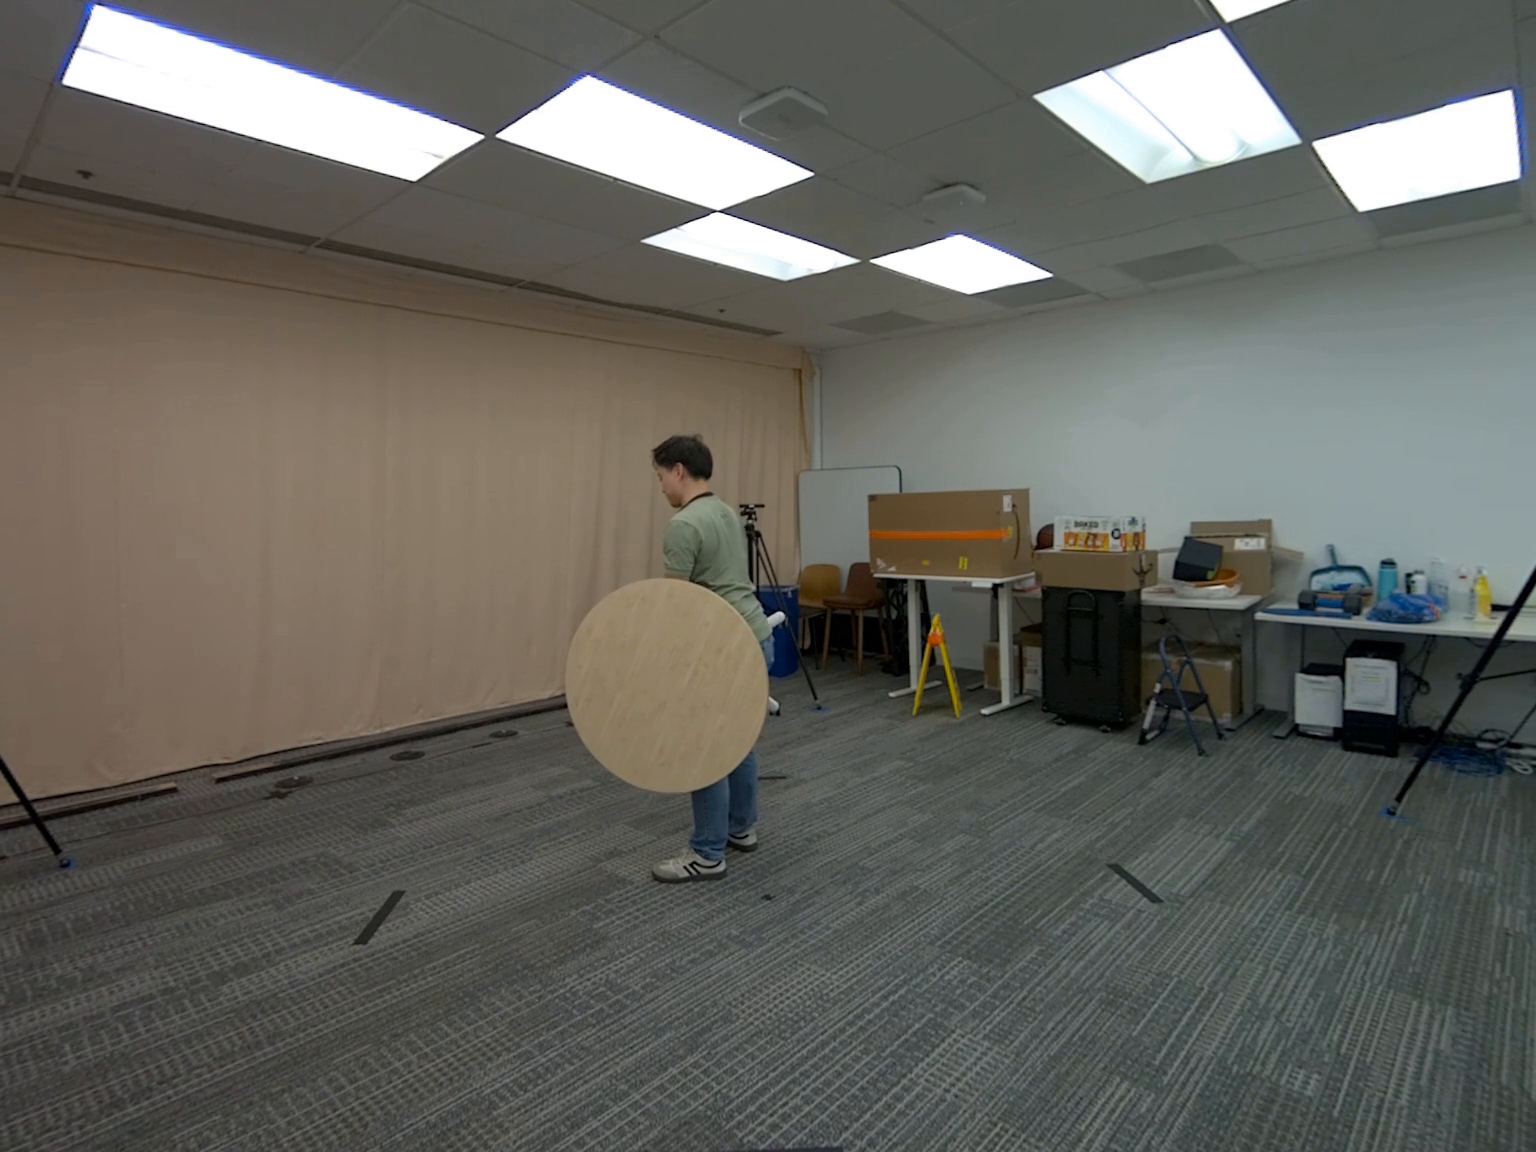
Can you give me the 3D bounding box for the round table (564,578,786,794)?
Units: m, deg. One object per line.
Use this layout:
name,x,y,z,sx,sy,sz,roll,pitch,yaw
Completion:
round table,-0.289,0.380,3.385,0.776,0.763,0.782,0,2,14
